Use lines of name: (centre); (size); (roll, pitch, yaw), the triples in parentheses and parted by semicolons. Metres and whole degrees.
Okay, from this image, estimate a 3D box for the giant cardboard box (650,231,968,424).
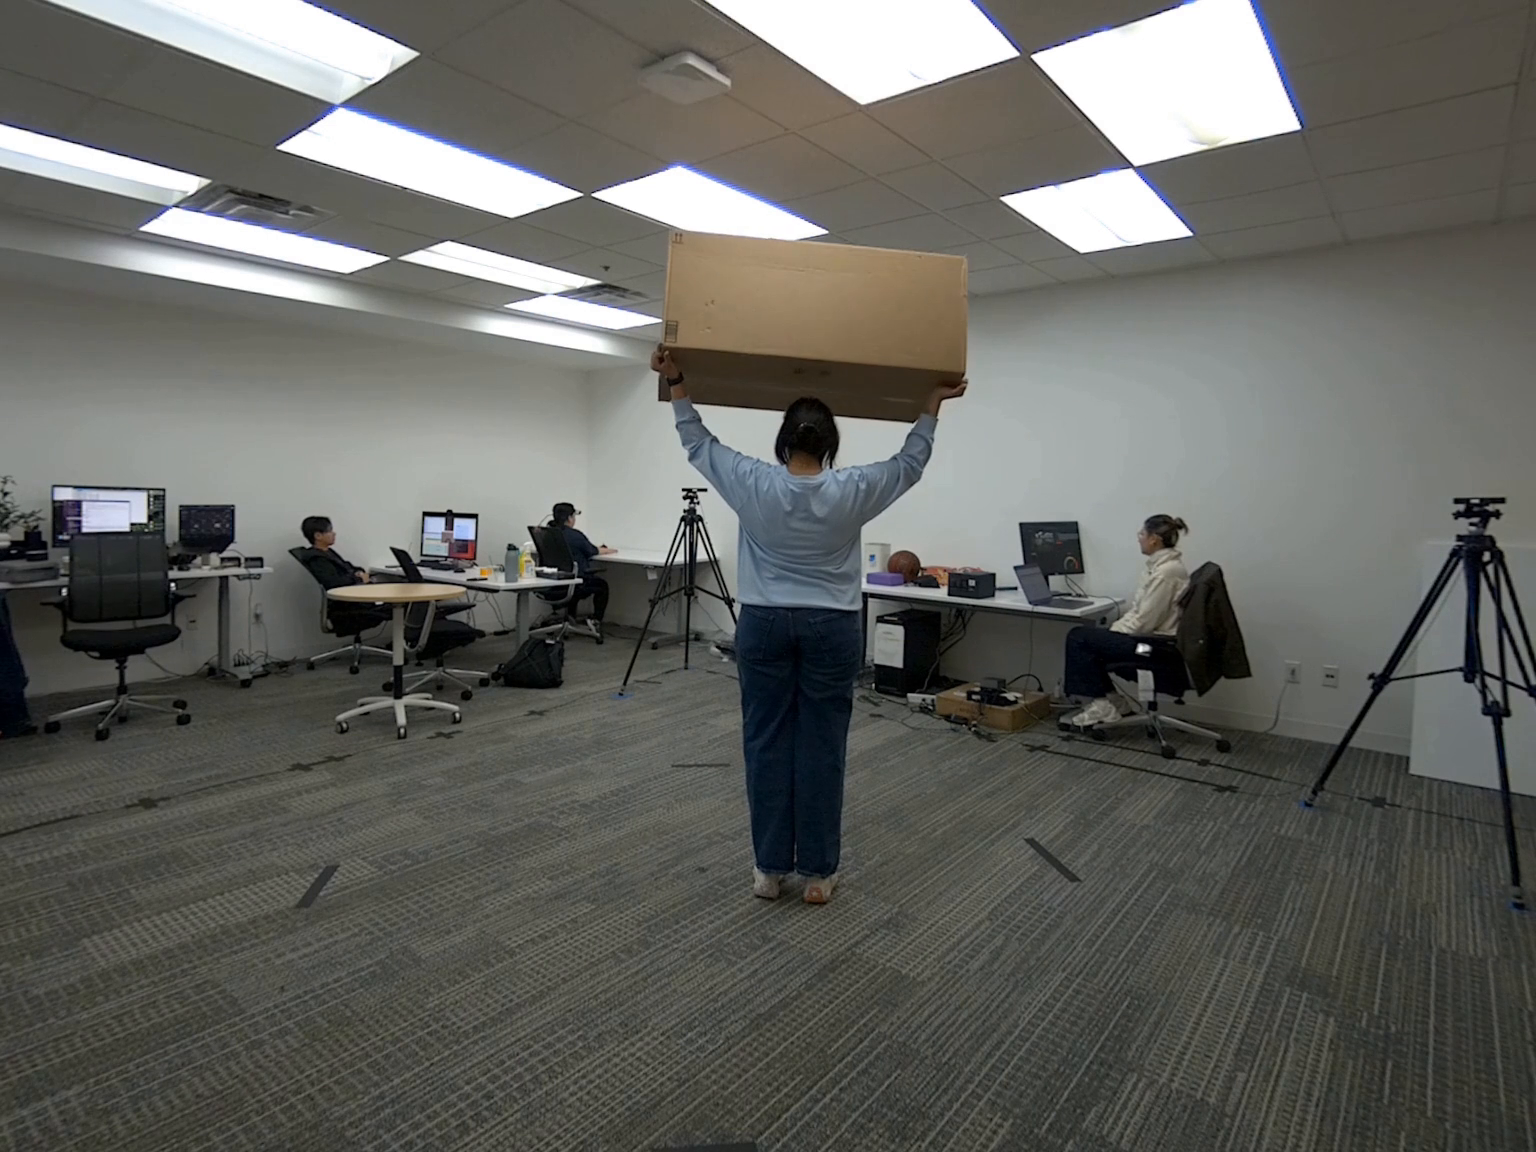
giant cardboard box: (0.117, -0.882, 3.116); (1.021, 0.430, 0.575); (4, -9, -4)
